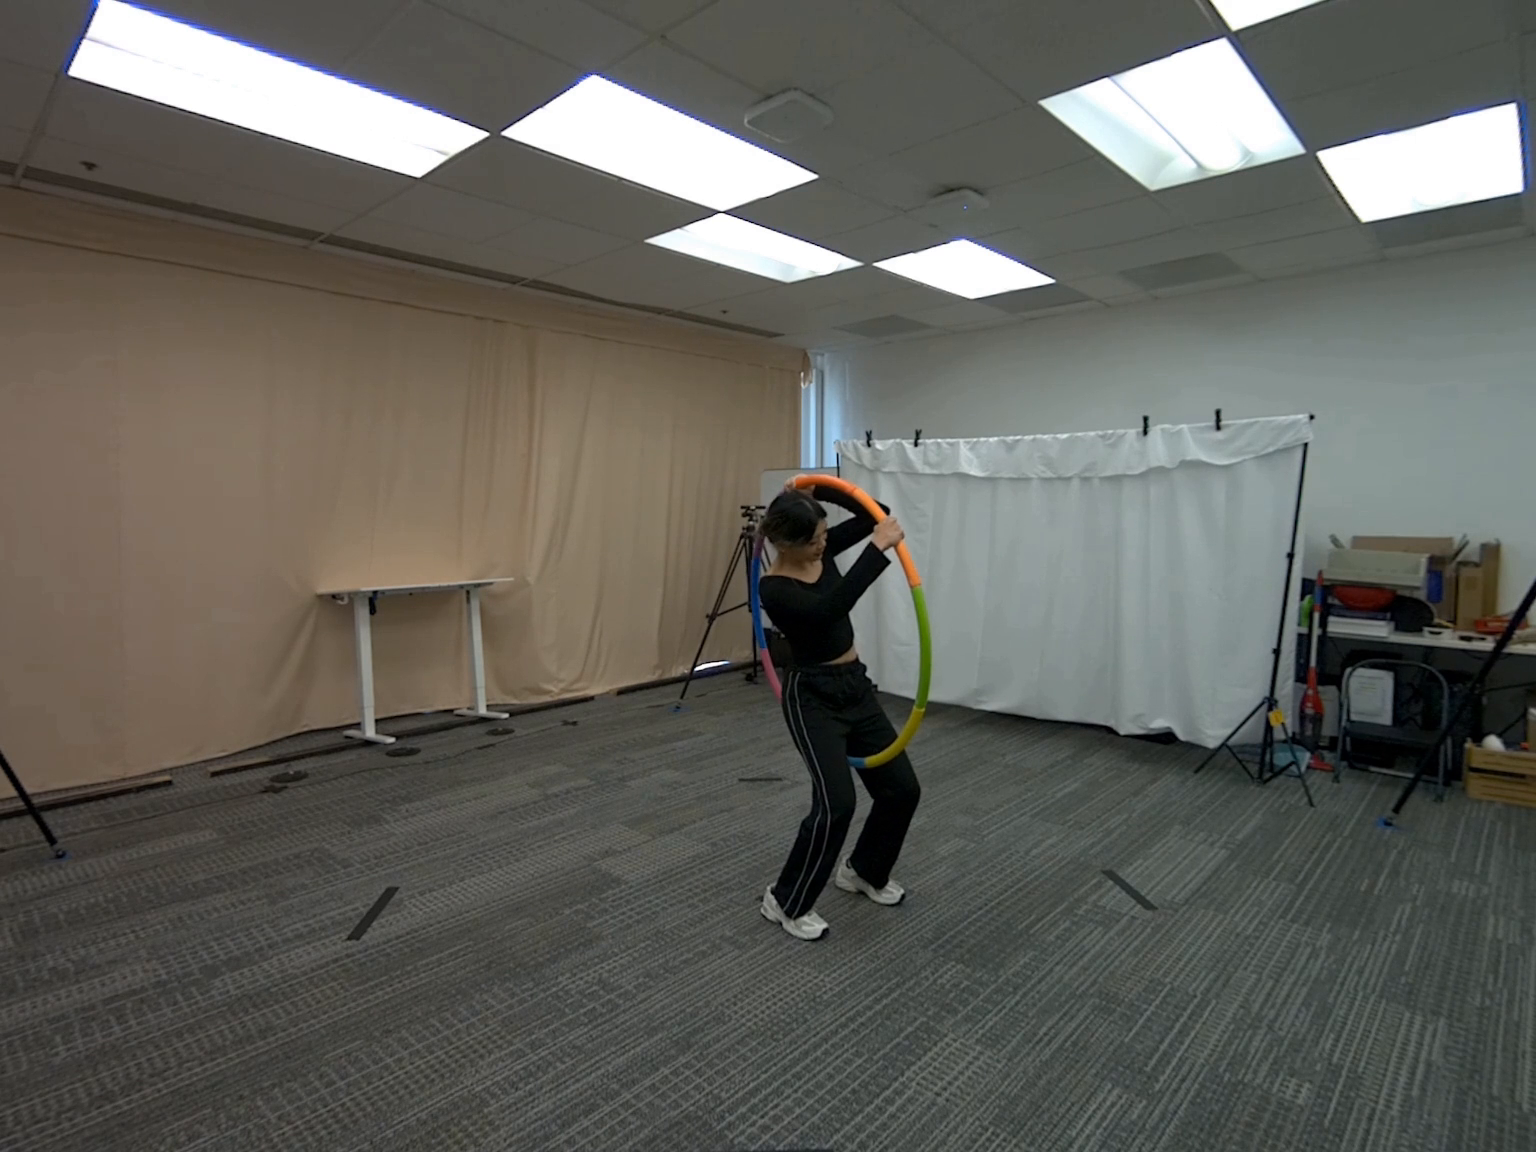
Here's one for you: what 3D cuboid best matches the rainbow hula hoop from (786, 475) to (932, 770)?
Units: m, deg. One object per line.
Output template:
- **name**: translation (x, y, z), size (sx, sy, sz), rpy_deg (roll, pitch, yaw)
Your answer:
- **rainbow hula hoop**: translation (0.213, 0.150, 2.864), size (0.034, 0.974, 1.009), rpy_deg (-9, 8, -33)
